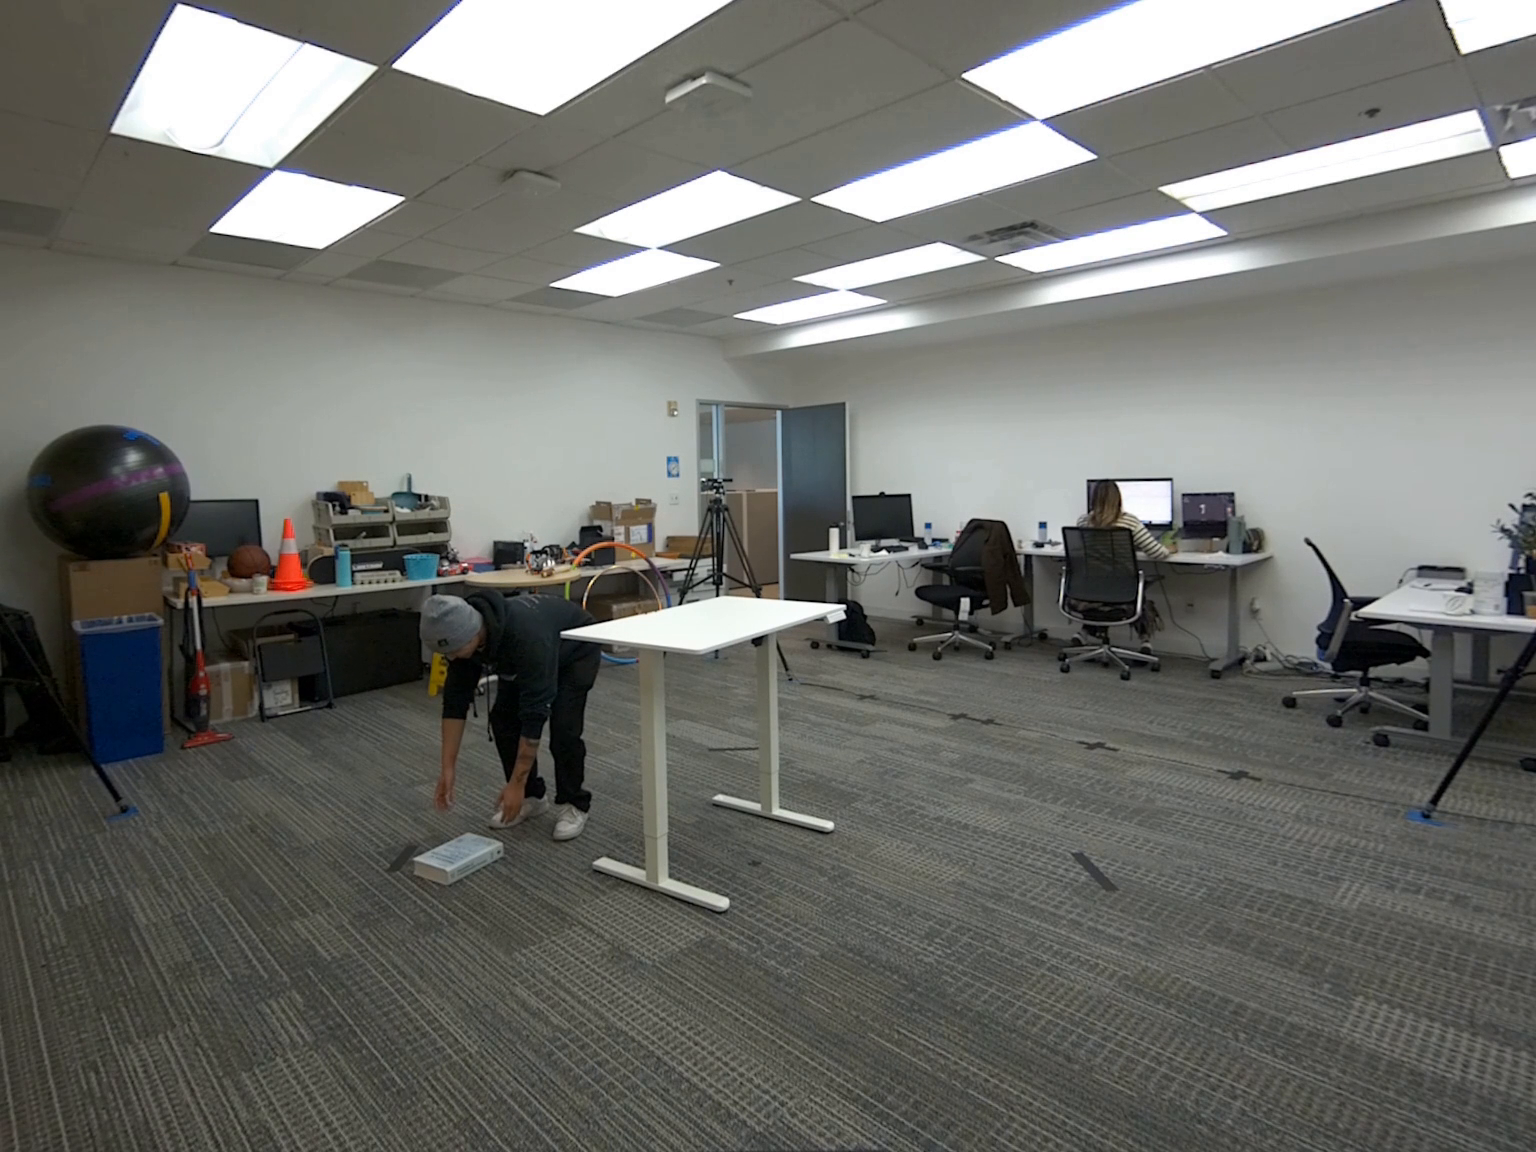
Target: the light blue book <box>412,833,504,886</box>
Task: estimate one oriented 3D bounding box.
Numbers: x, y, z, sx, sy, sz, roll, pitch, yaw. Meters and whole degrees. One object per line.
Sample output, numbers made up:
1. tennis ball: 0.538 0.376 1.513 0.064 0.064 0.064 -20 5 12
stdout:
1. light blue book: -1.137 1.039 3.137 0.196 0.059 0.255 2 8 30
